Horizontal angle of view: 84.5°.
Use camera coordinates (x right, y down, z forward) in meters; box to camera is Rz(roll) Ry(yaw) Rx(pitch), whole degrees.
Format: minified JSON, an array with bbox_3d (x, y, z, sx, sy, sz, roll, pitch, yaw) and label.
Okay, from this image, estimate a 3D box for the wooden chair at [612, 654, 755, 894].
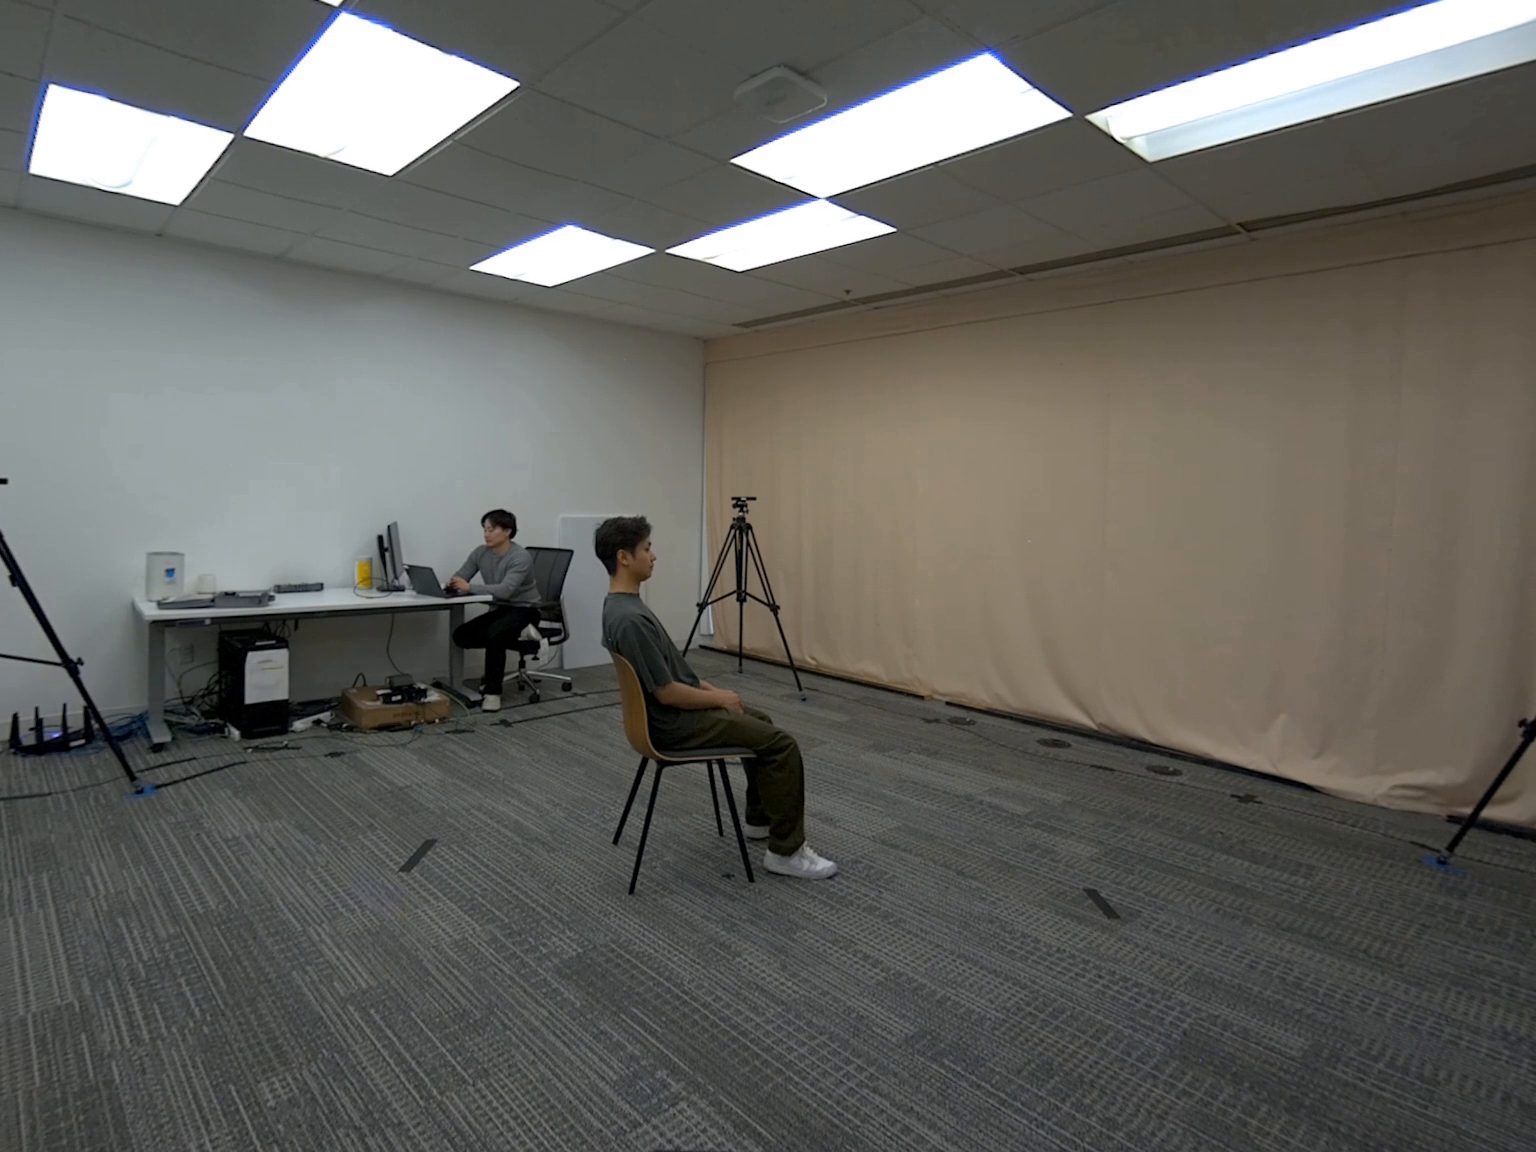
[{"bbox_3d":[-0.328,0.662,3.182,0.517,0.875,0.485,-4,4,-16],"label":"wooden chair"}]
